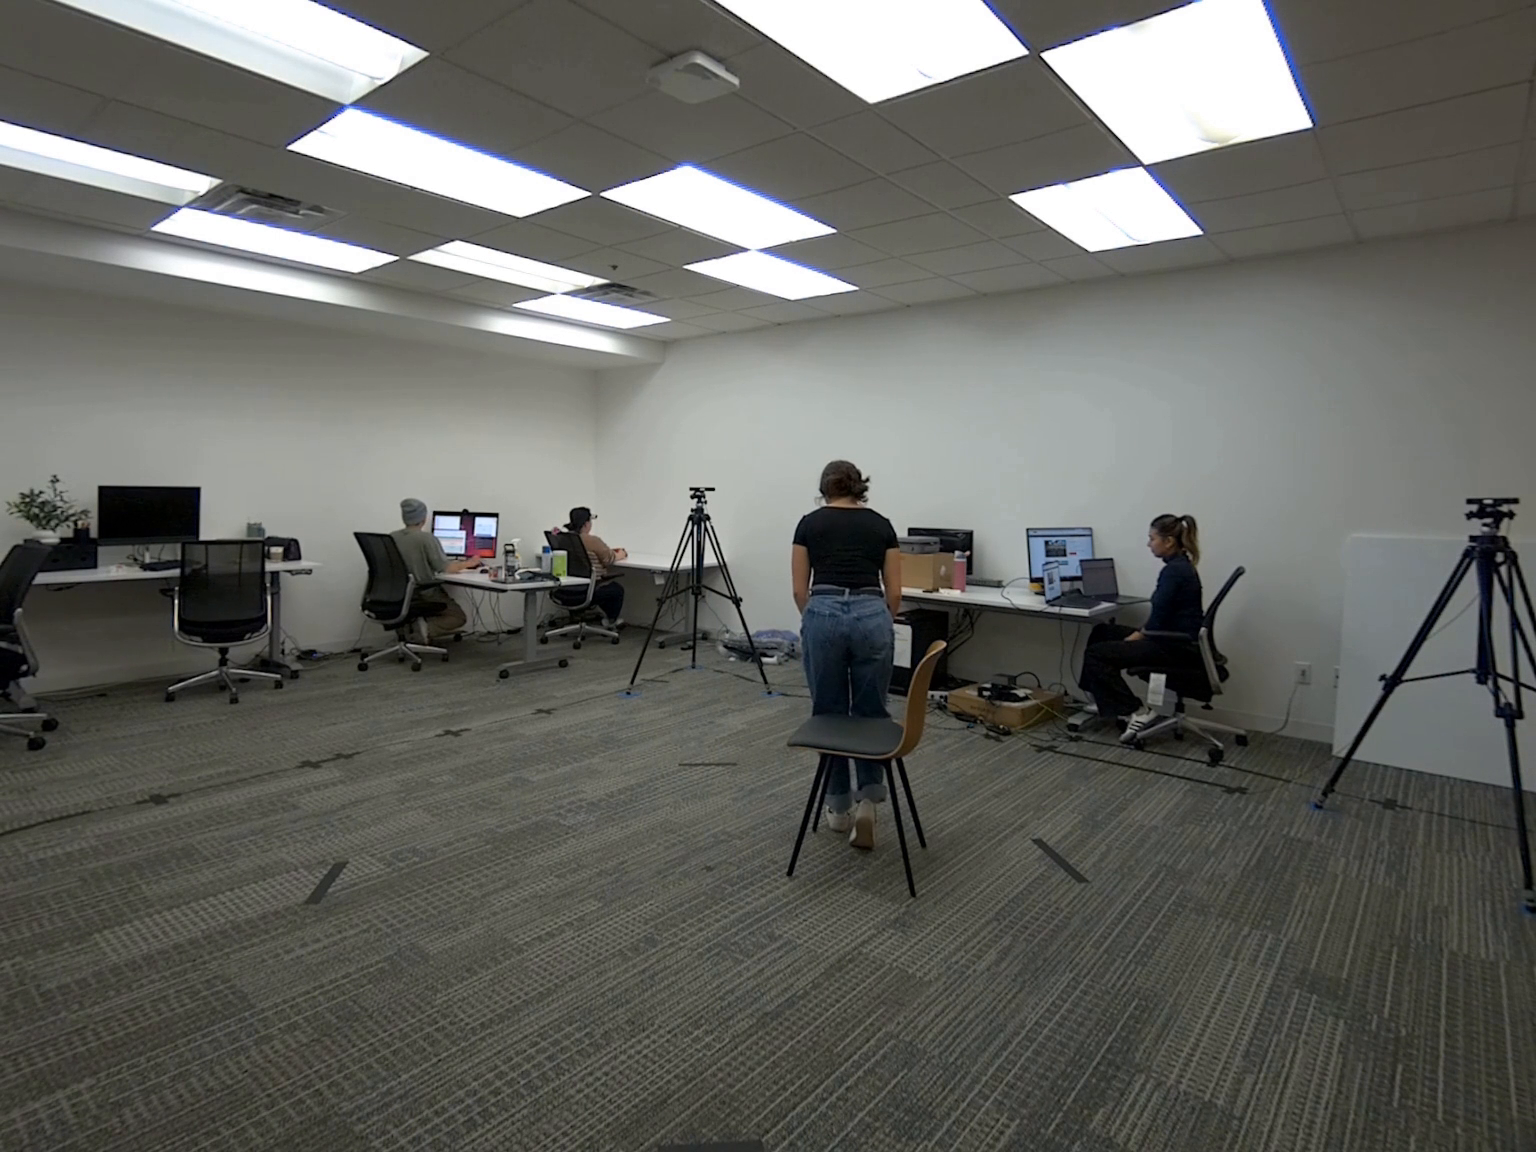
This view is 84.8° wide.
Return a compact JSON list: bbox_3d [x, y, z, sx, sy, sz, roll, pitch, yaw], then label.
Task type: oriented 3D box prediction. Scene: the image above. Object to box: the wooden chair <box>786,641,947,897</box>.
[{"bbox_3d":[0.341,0.646,3.172,0.533,0.875,0.470,7,4,16],"label":"wooden chair"}]
